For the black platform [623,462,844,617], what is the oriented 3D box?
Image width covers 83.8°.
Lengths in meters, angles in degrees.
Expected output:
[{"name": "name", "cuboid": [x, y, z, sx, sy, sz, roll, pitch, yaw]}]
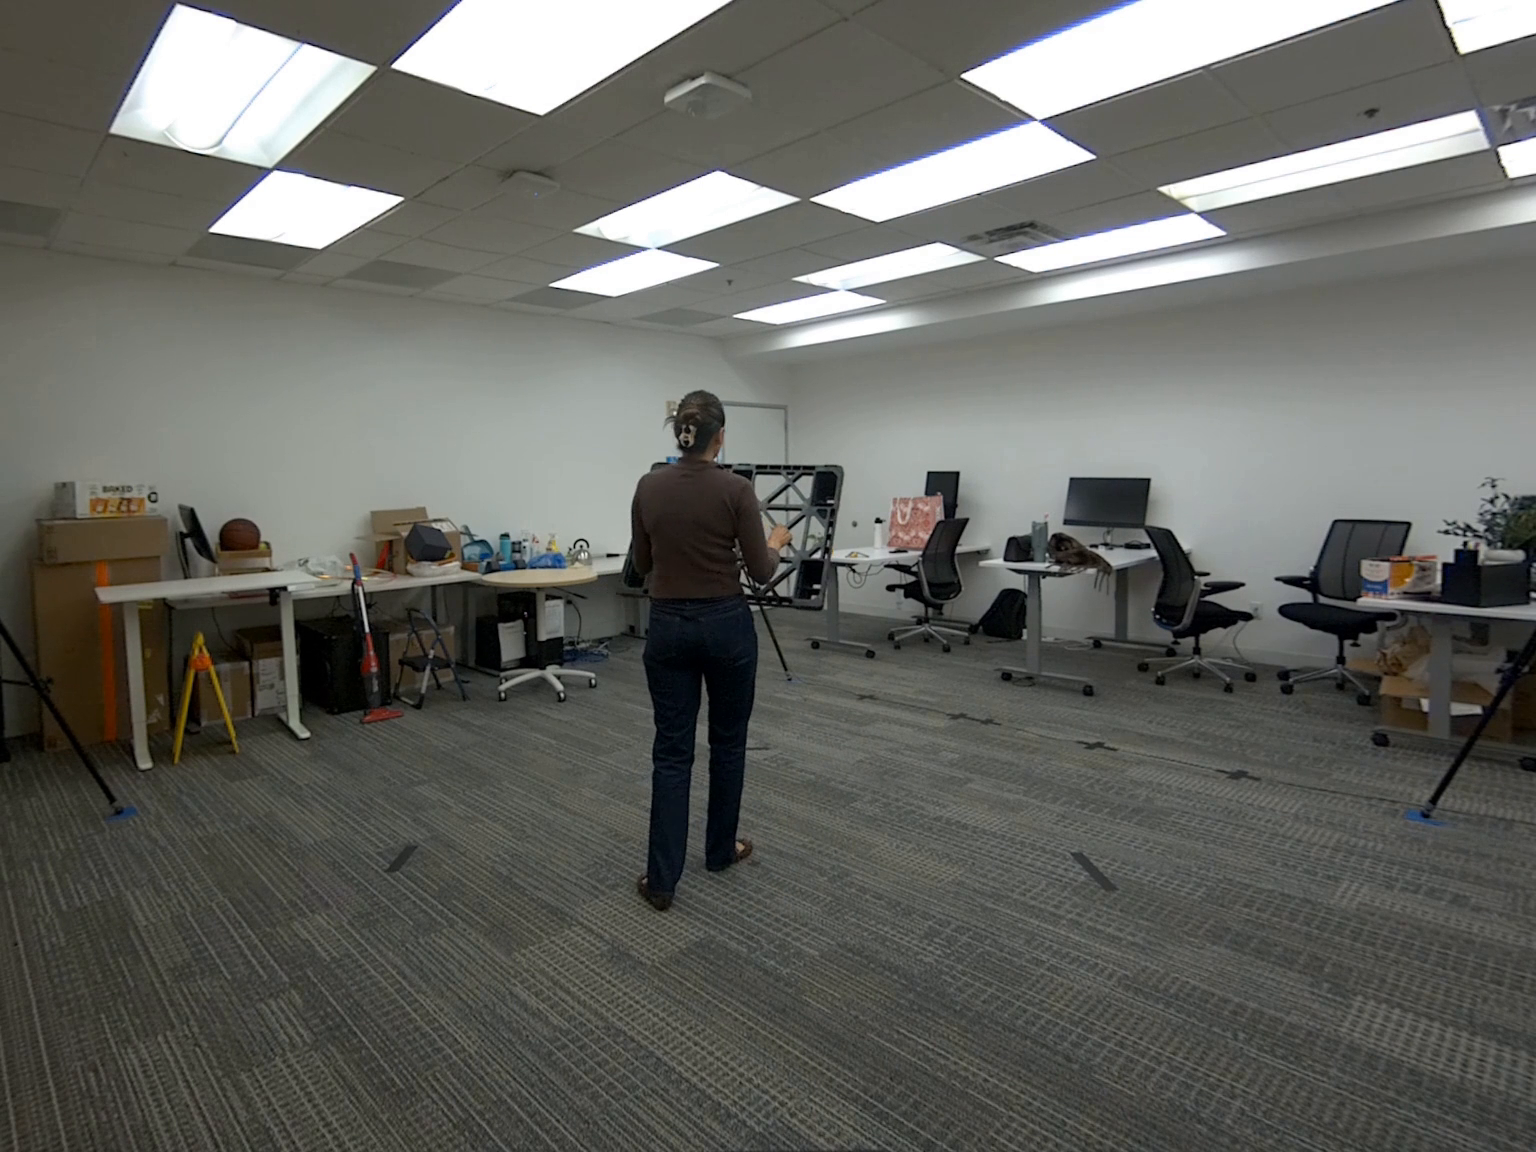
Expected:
[{"name": "black platform", "cuboid": [-0.133, -0.158, 3.308, 0.820, 0.615, 0.138, 2, -29, 18]}]
